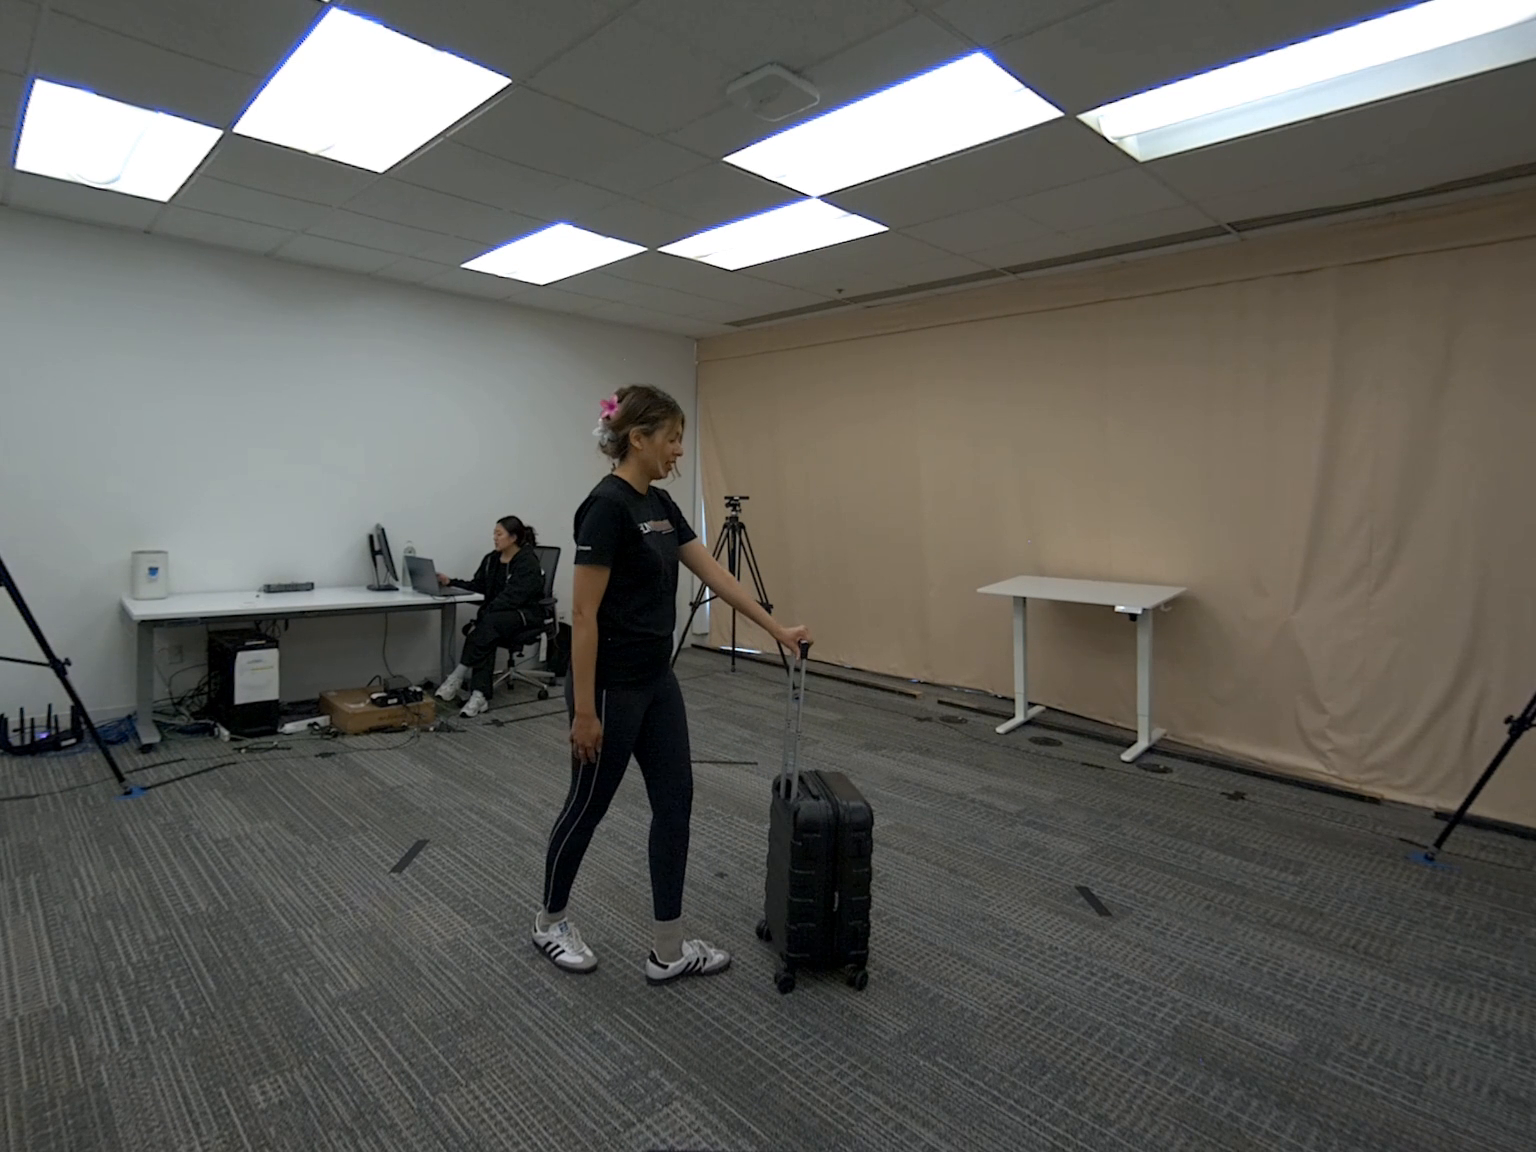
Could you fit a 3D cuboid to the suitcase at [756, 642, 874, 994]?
[{"bbox_3d":[0.155,0.686,2.526,0.255,0.977,0.387,3,2,-9],"label":"suitcase"}]
